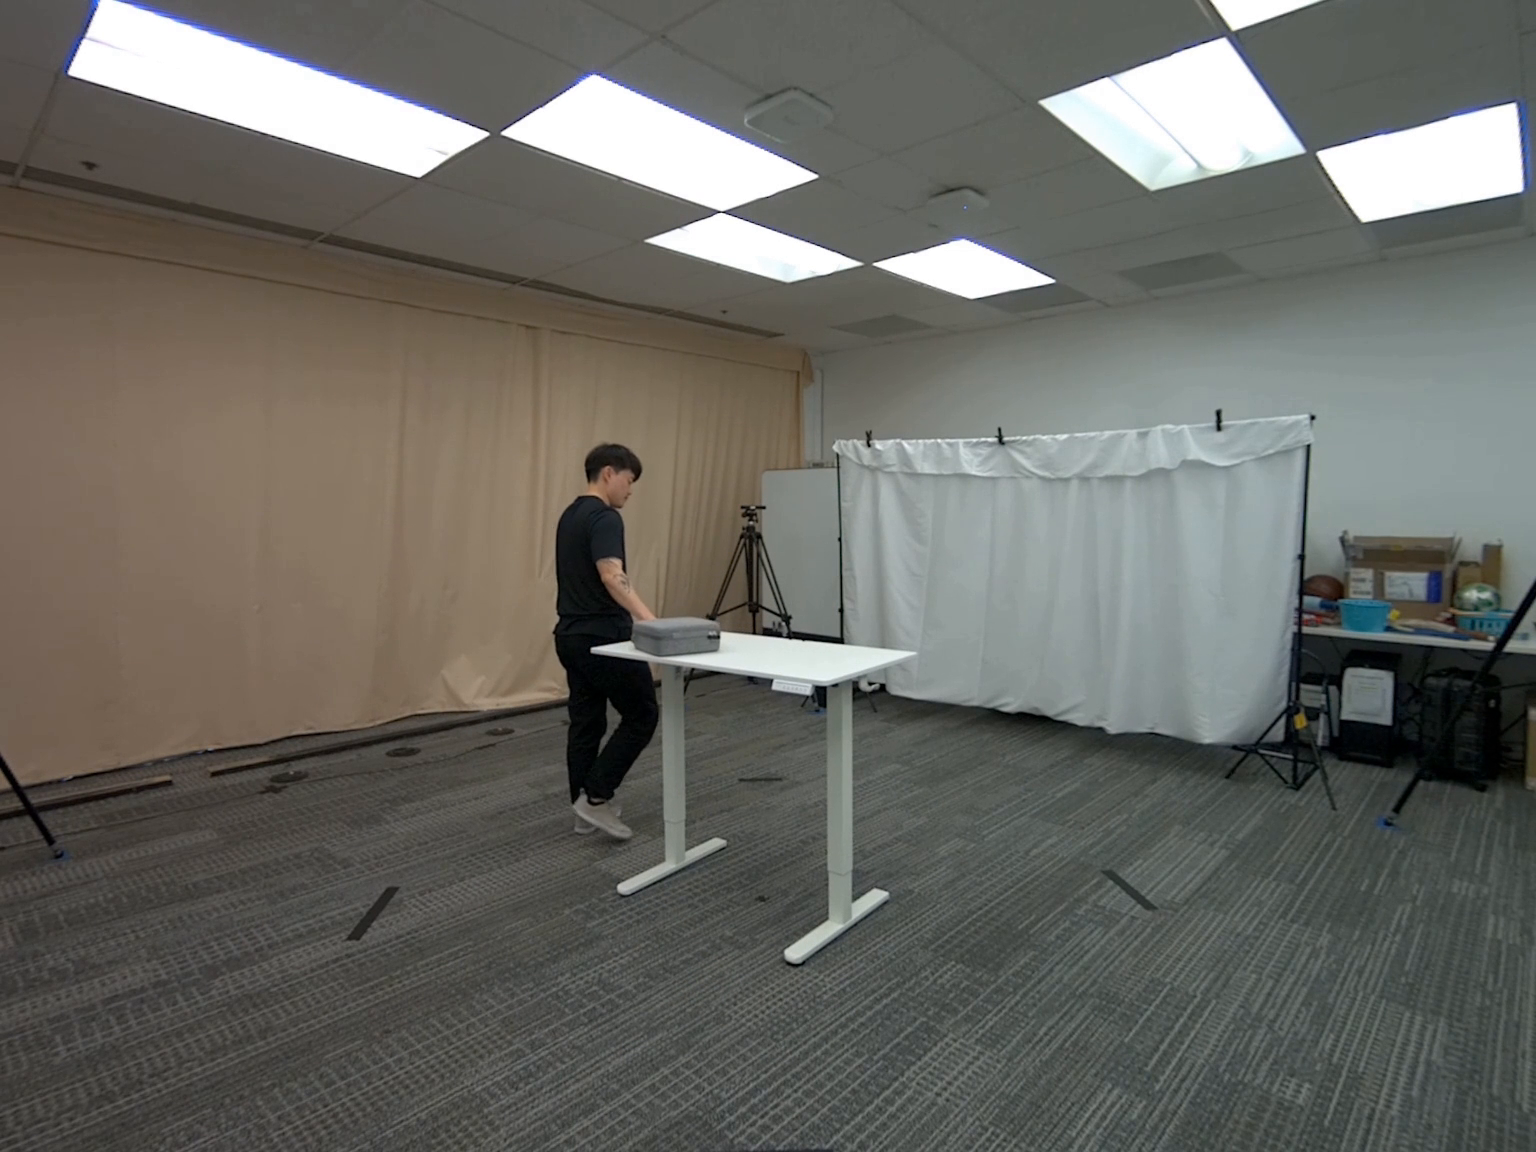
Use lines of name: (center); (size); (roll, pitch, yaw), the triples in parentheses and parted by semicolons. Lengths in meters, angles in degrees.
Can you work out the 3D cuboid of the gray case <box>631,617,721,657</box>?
gray case: (-0.325, 0.211, 2.995); (0.250, 0.104, 0.268); (-5, 4, -29)
